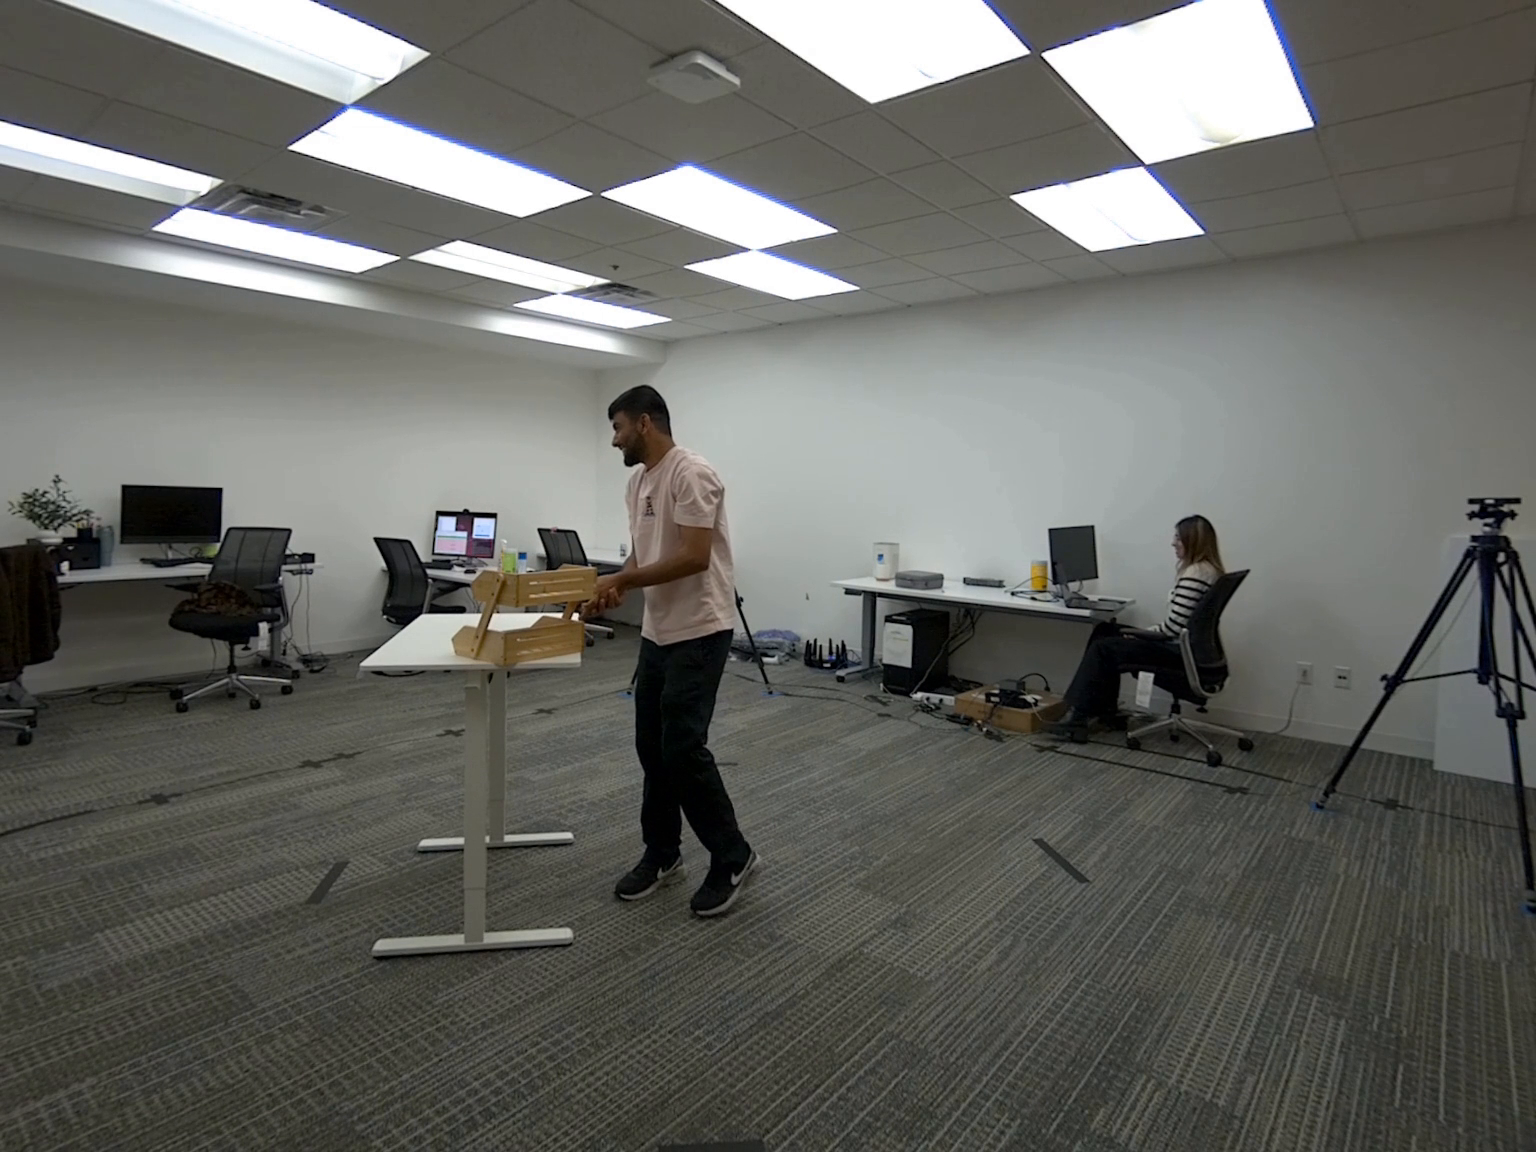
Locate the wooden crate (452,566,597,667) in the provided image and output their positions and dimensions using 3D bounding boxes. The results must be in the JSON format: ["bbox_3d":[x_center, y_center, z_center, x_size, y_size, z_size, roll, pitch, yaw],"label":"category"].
[{"bbox_3d":[-0.735,0.098,2.534,0.312,0.272,0.315,6,5,33],"label":"wooden crate"}]
